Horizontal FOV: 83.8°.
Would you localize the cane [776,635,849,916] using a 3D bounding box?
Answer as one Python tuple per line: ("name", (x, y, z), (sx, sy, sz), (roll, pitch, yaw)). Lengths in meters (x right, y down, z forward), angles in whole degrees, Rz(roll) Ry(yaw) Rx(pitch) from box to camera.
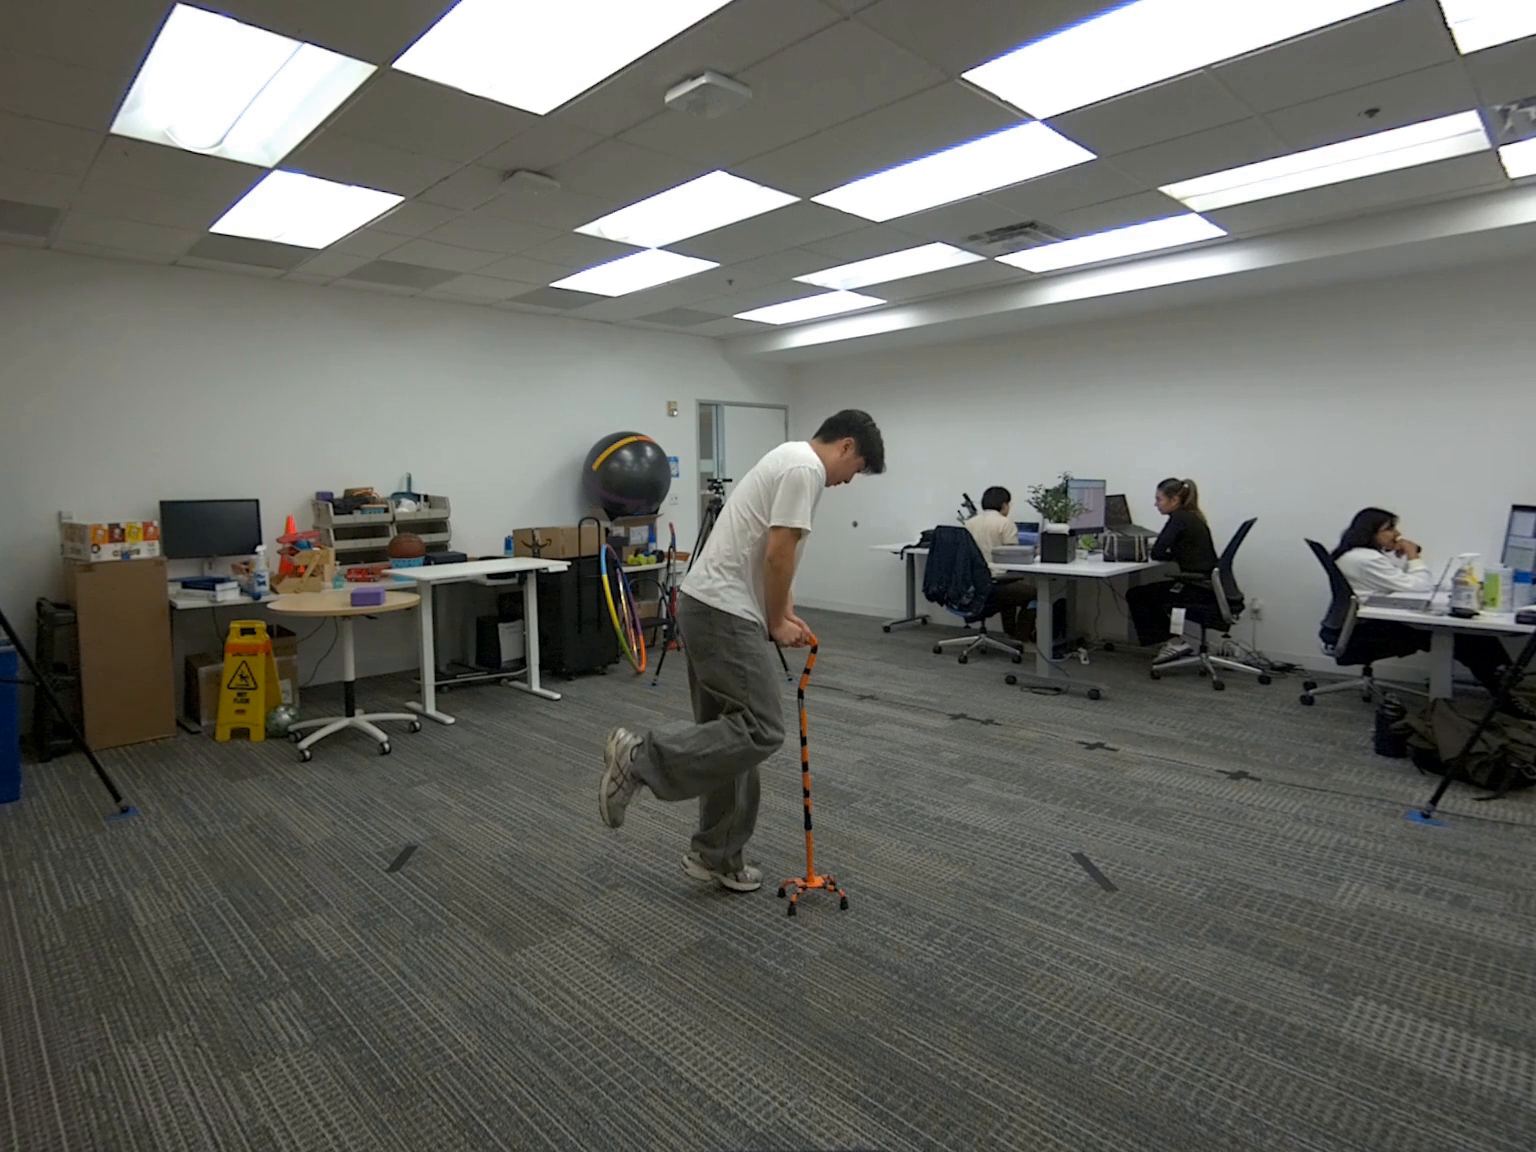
("cane", (0.129, 0.625, 2.798), (0.204, 0.905, 0.154), (-3, 3, -14))
